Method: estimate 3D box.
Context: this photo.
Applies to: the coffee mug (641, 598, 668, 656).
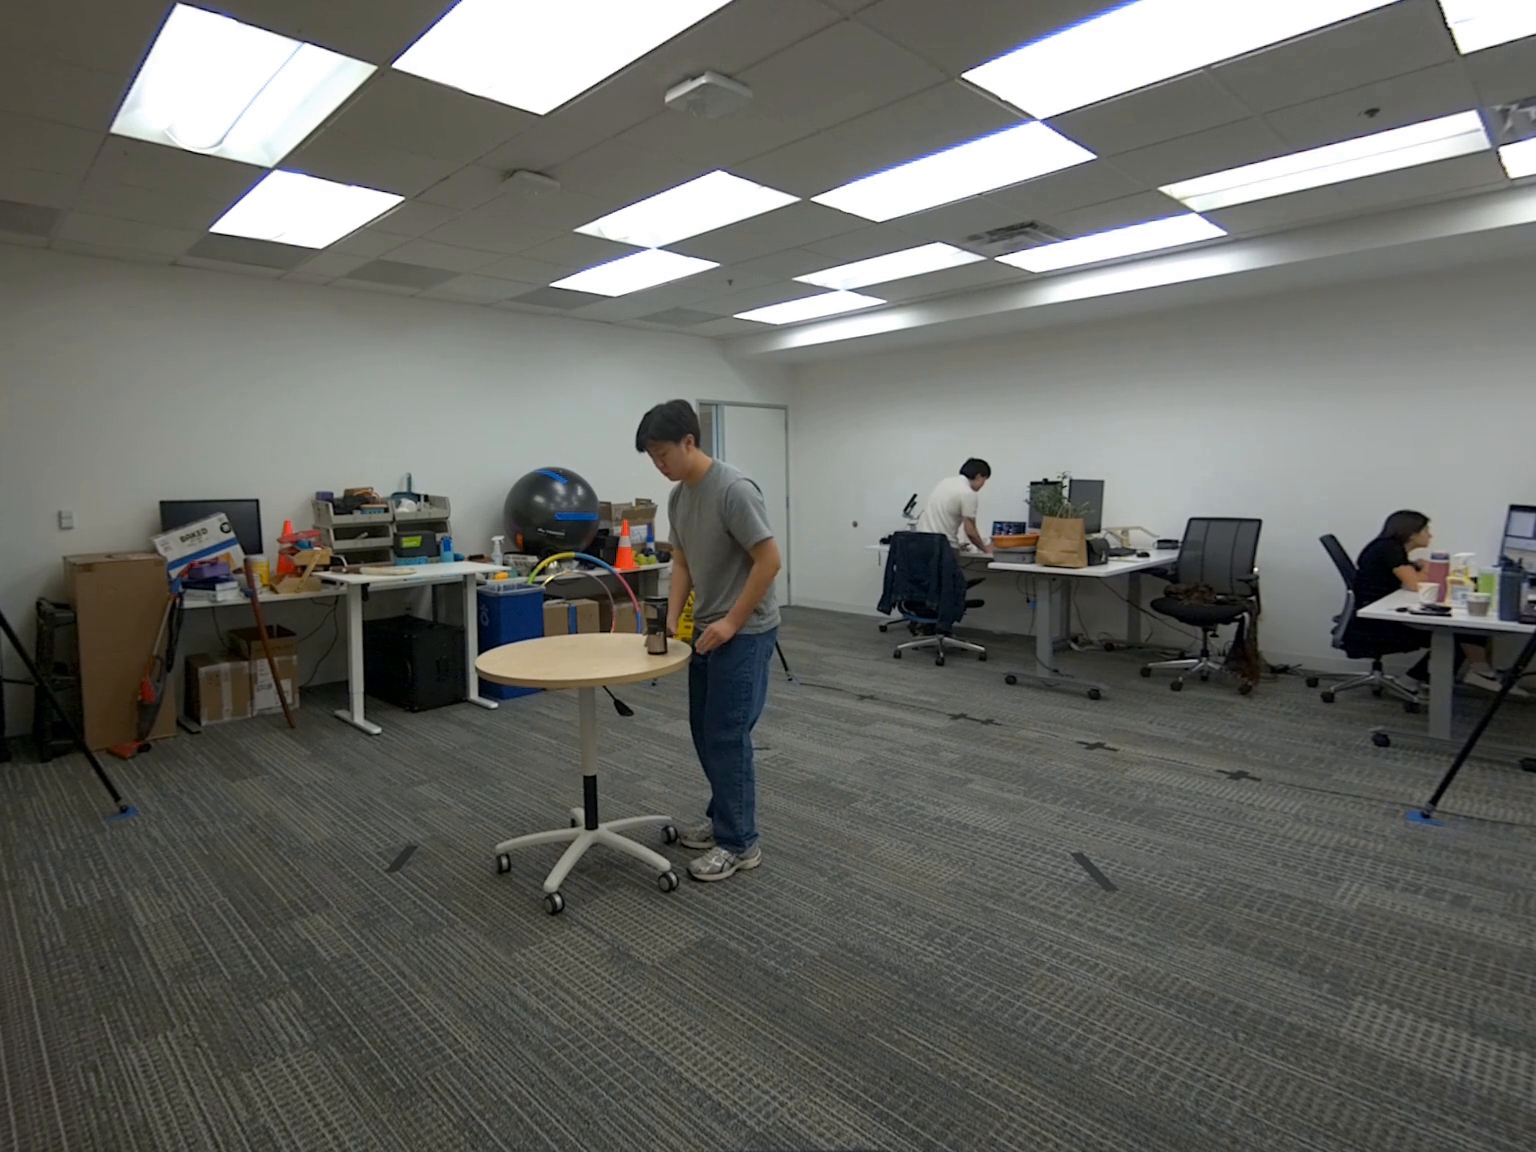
[{"bbox_3d":[-0.404,0.176,3.014,0.118,0.203,0.090,2,2,-42],"label":"coffee mug"}]
